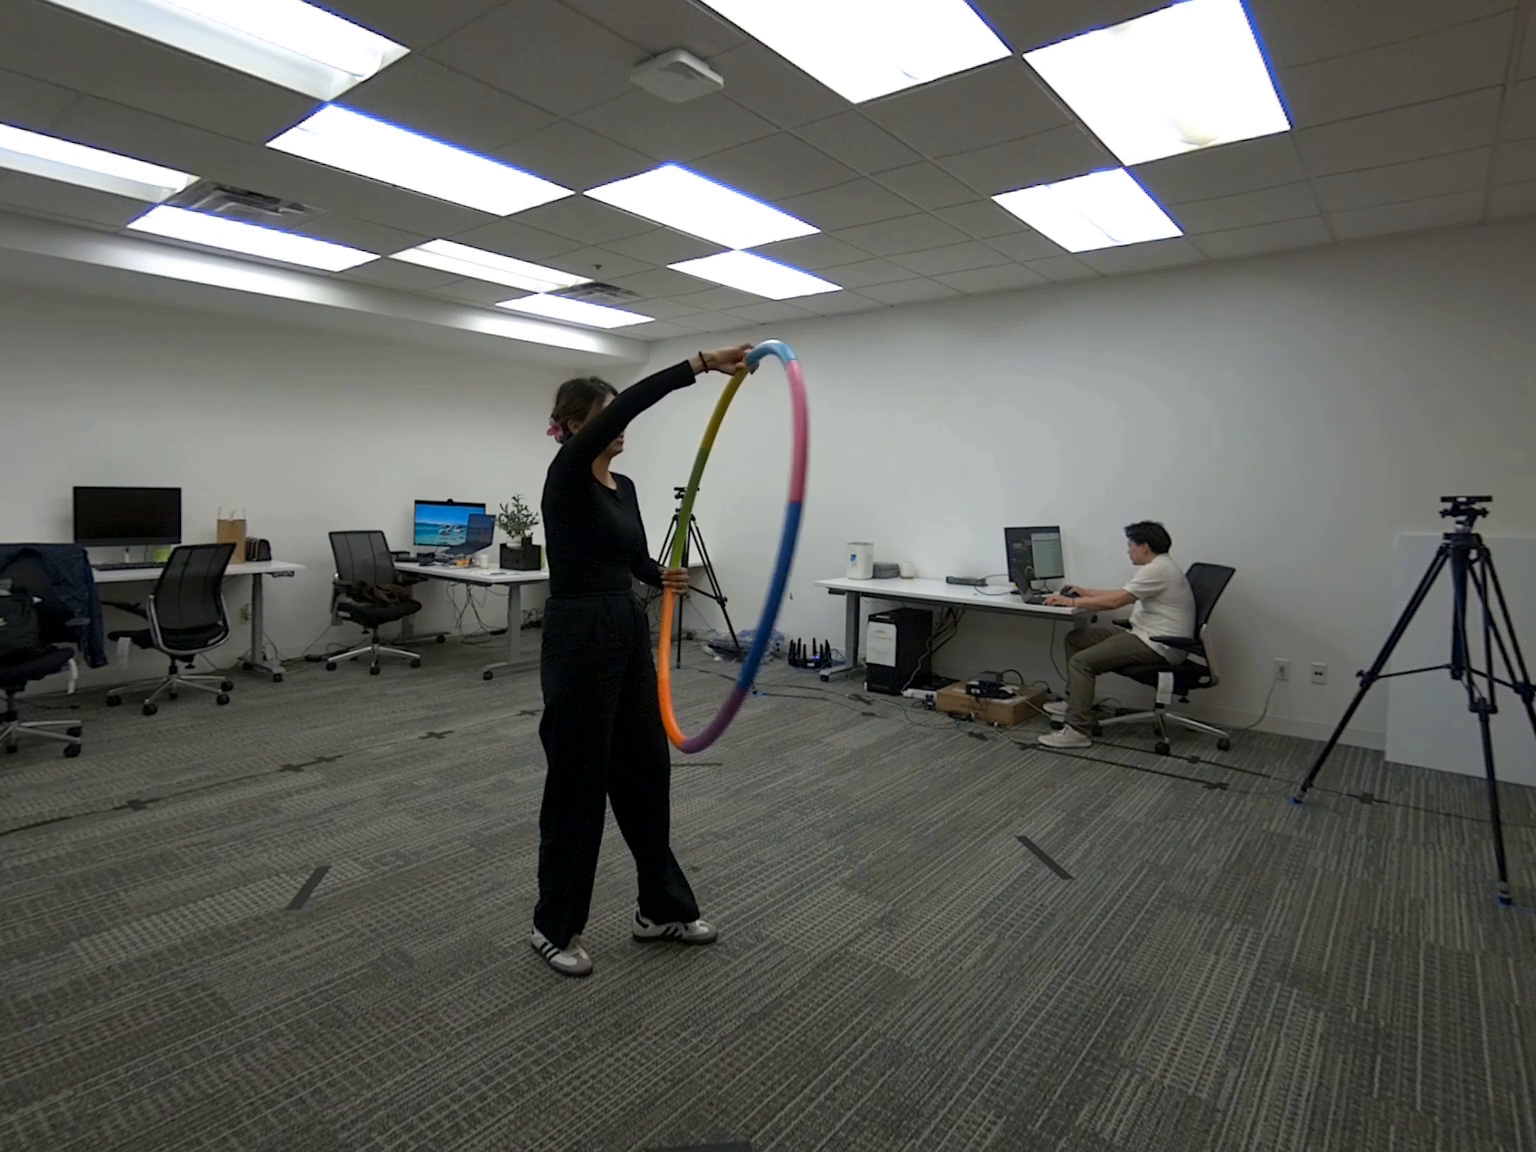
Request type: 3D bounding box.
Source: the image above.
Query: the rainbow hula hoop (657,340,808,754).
[{"bbox_3d":[-0.119,-0.081,2.059,0.050,0.985,1.005,12,1,-18],"label":"rainbow hula hoop"}]
